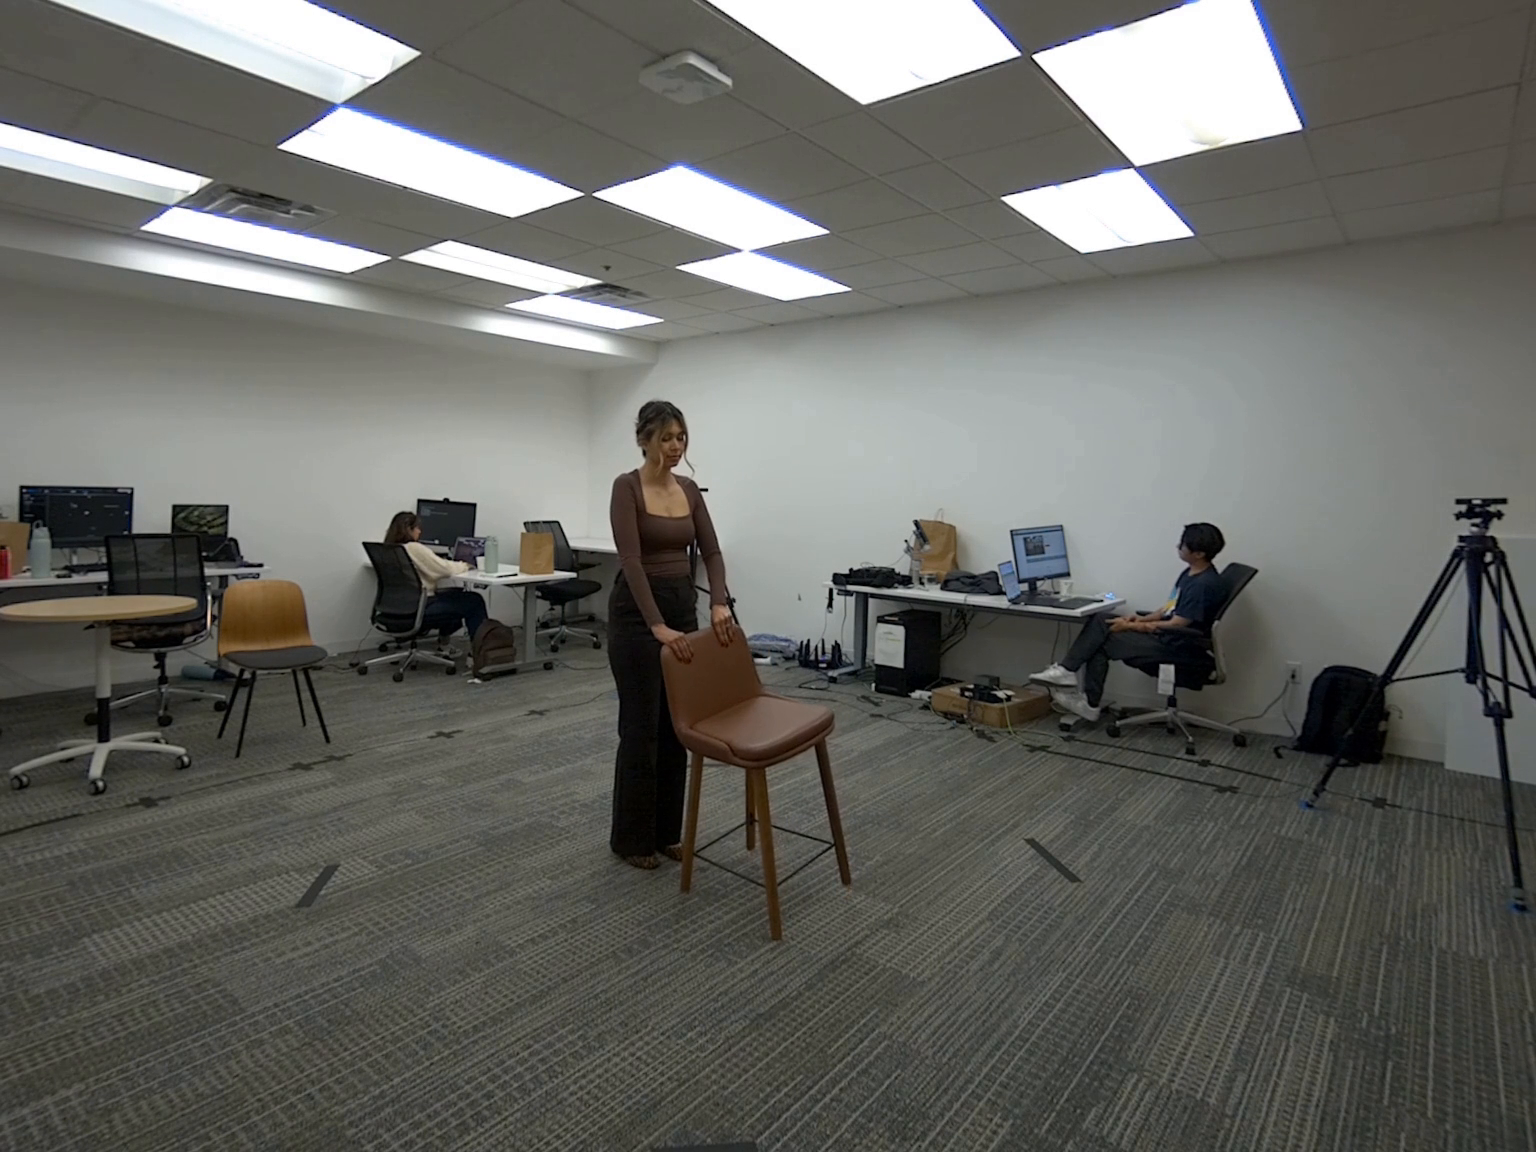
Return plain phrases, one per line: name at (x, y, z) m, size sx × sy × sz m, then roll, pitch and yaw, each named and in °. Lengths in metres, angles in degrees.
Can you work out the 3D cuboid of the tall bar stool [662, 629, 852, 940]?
tall bar stool at (-0.055, 0.637, 2.867) m, size 0.483 × 0.884 × 0.445 m, roll 1°, pitch 9°, yaw 42°
